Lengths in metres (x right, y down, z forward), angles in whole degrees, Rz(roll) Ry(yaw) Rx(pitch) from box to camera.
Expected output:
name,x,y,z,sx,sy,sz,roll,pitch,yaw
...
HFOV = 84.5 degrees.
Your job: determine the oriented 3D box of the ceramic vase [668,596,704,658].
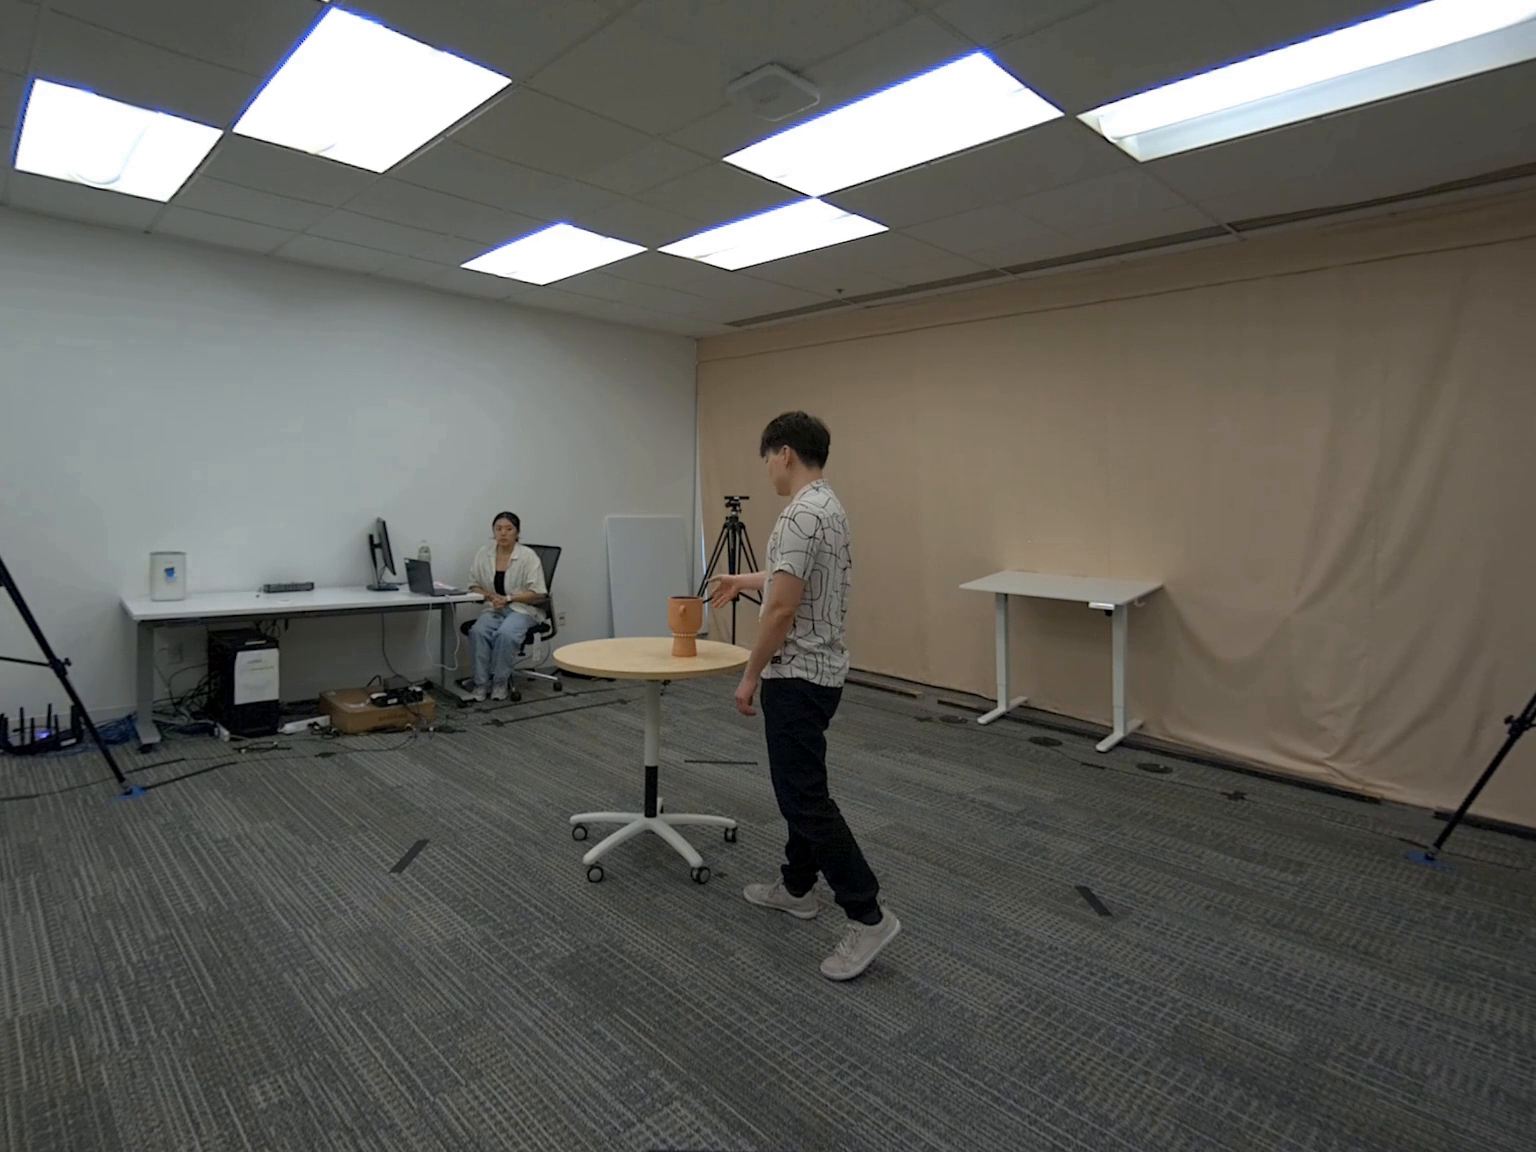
name,x,y,z,sx,sy,sz,roll,pitch,yaw
ceramic vase,-0.322,0.194,3.227,0.138,0.219,0.155,6,5,44
